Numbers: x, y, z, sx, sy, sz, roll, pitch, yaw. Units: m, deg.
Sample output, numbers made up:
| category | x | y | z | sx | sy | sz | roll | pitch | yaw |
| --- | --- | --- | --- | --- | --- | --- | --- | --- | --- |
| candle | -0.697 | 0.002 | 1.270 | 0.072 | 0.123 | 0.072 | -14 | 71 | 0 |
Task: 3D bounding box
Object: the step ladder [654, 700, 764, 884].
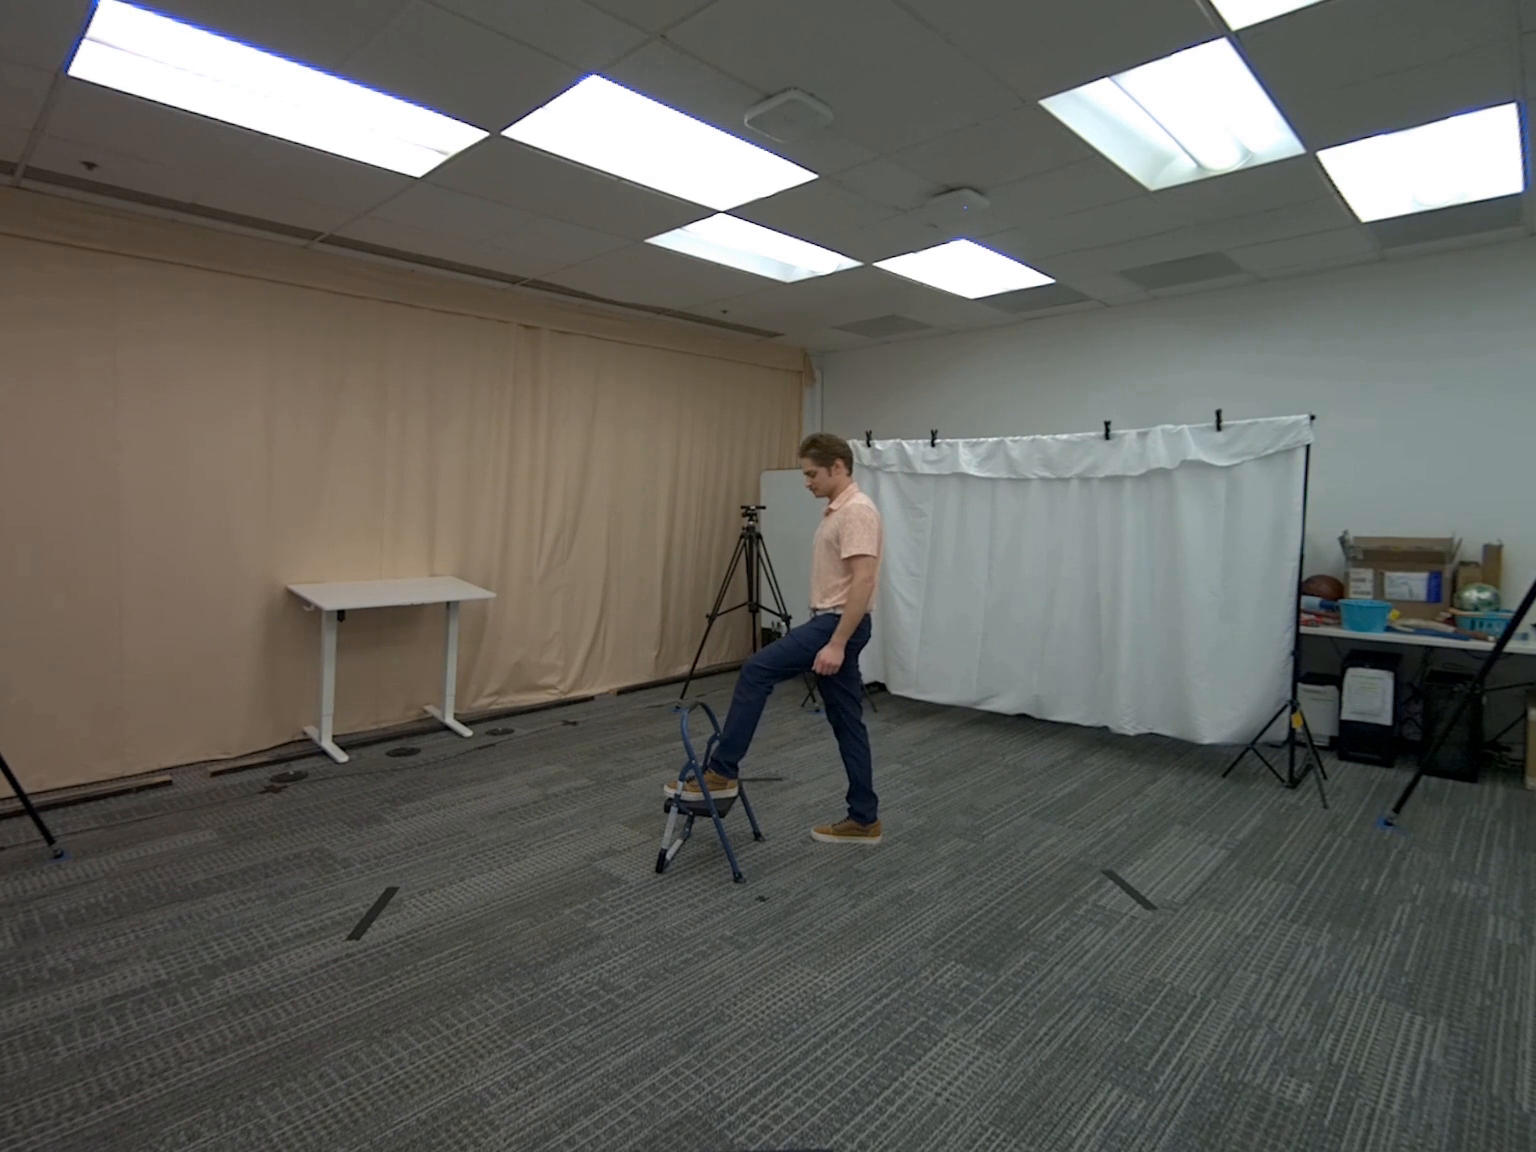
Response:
| category | x | y | z | sx | sy | sz | roll | pitch | yaw |
| --- | --- | --- | --- | --- | --- | --- | --- | --- | --- |
| step ladder | -0.225 | 0.814 | 3.336 | 0.354 | 0.605 | 0.426 | 0 | 4 | 11 |
